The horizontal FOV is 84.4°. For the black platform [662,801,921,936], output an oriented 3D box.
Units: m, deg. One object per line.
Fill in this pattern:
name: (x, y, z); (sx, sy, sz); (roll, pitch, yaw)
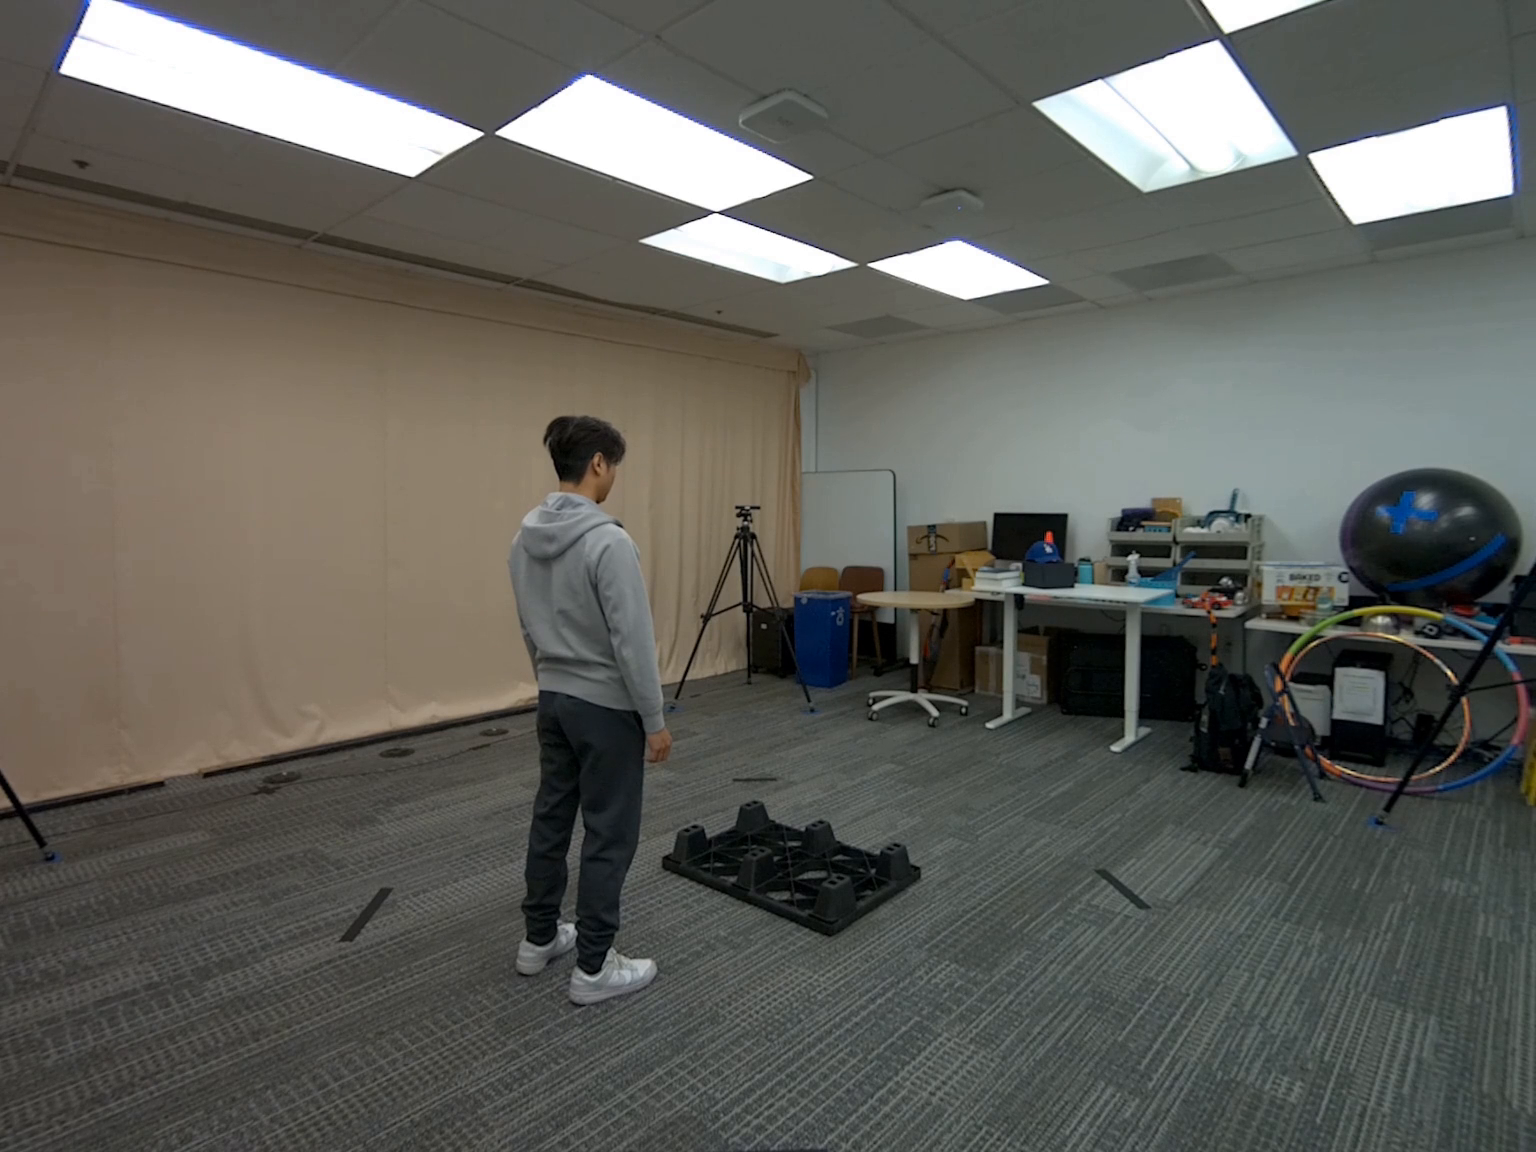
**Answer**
black platform: (0.090, 1.060, 3.193); (0.832, 0.143, 0.587); (4, 7, 40)
